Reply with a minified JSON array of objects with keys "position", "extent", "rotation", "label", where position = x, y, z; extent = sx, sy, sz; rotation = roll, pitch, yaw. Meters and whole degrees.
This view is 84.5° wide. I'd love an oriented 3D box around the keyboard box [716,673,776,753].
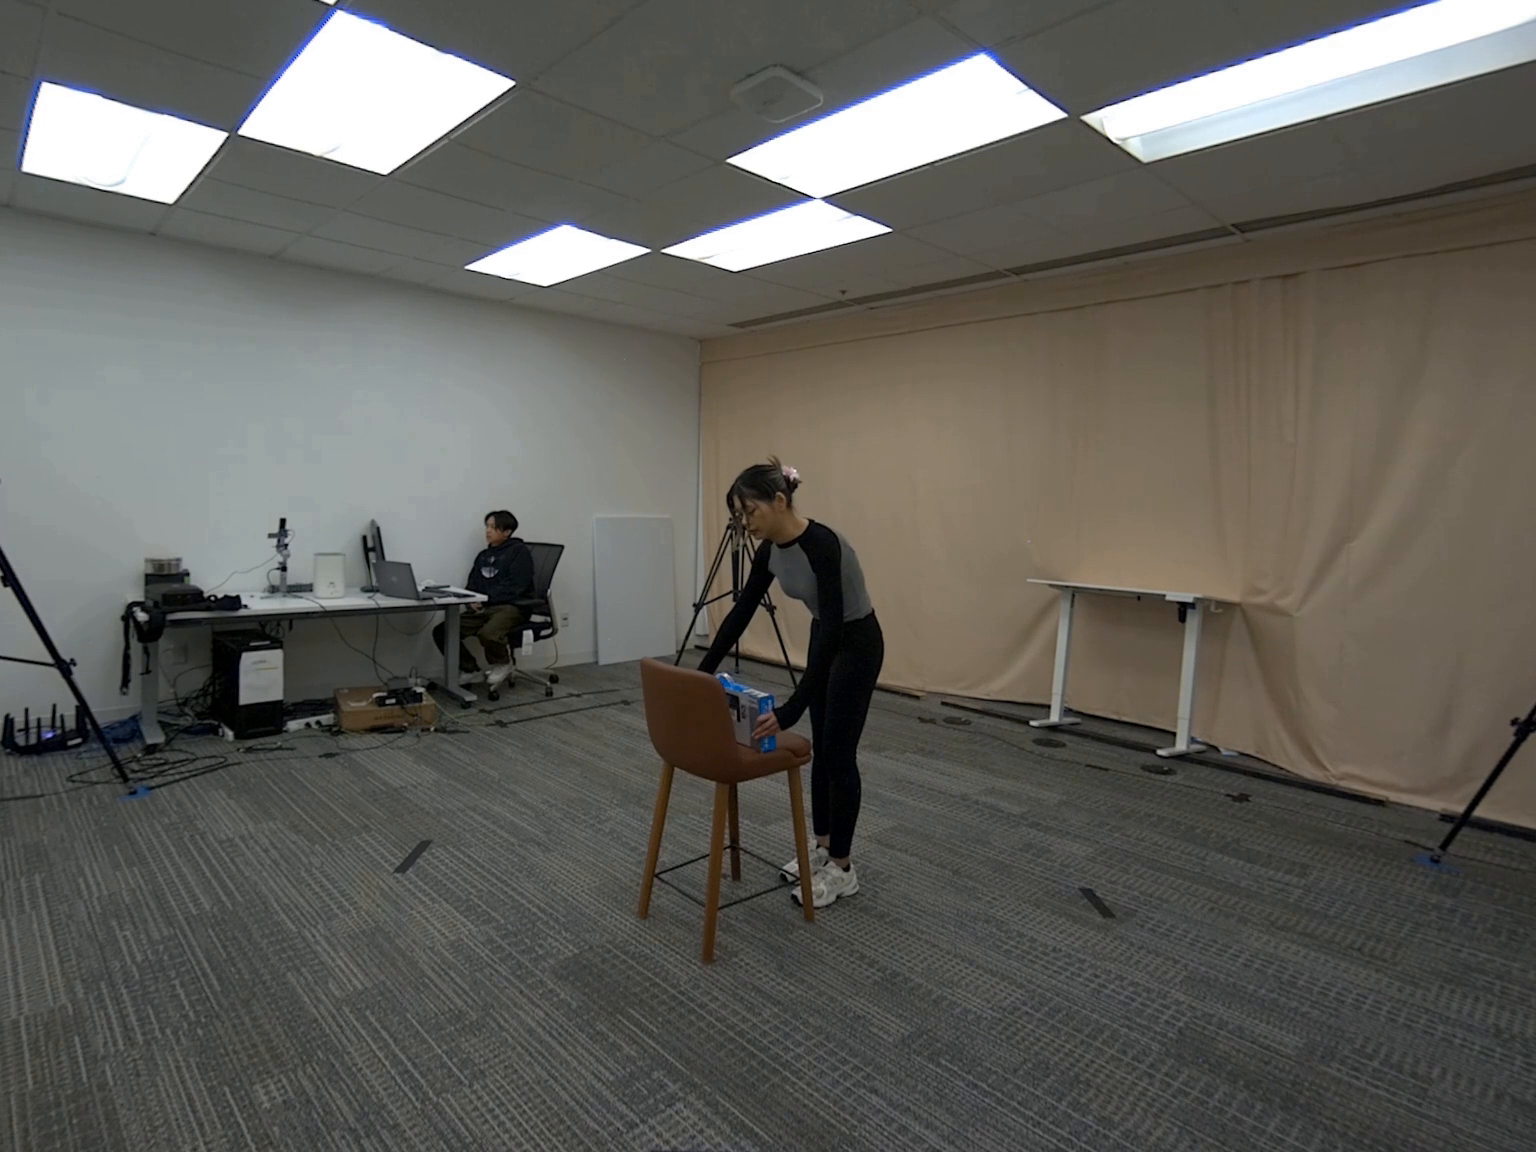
[{"position":[-0.144,0.441,2.759],"extent":[0.058,0.175,0.448],"rotation":[-6,8,-37],"label":"keyboard box"}]
